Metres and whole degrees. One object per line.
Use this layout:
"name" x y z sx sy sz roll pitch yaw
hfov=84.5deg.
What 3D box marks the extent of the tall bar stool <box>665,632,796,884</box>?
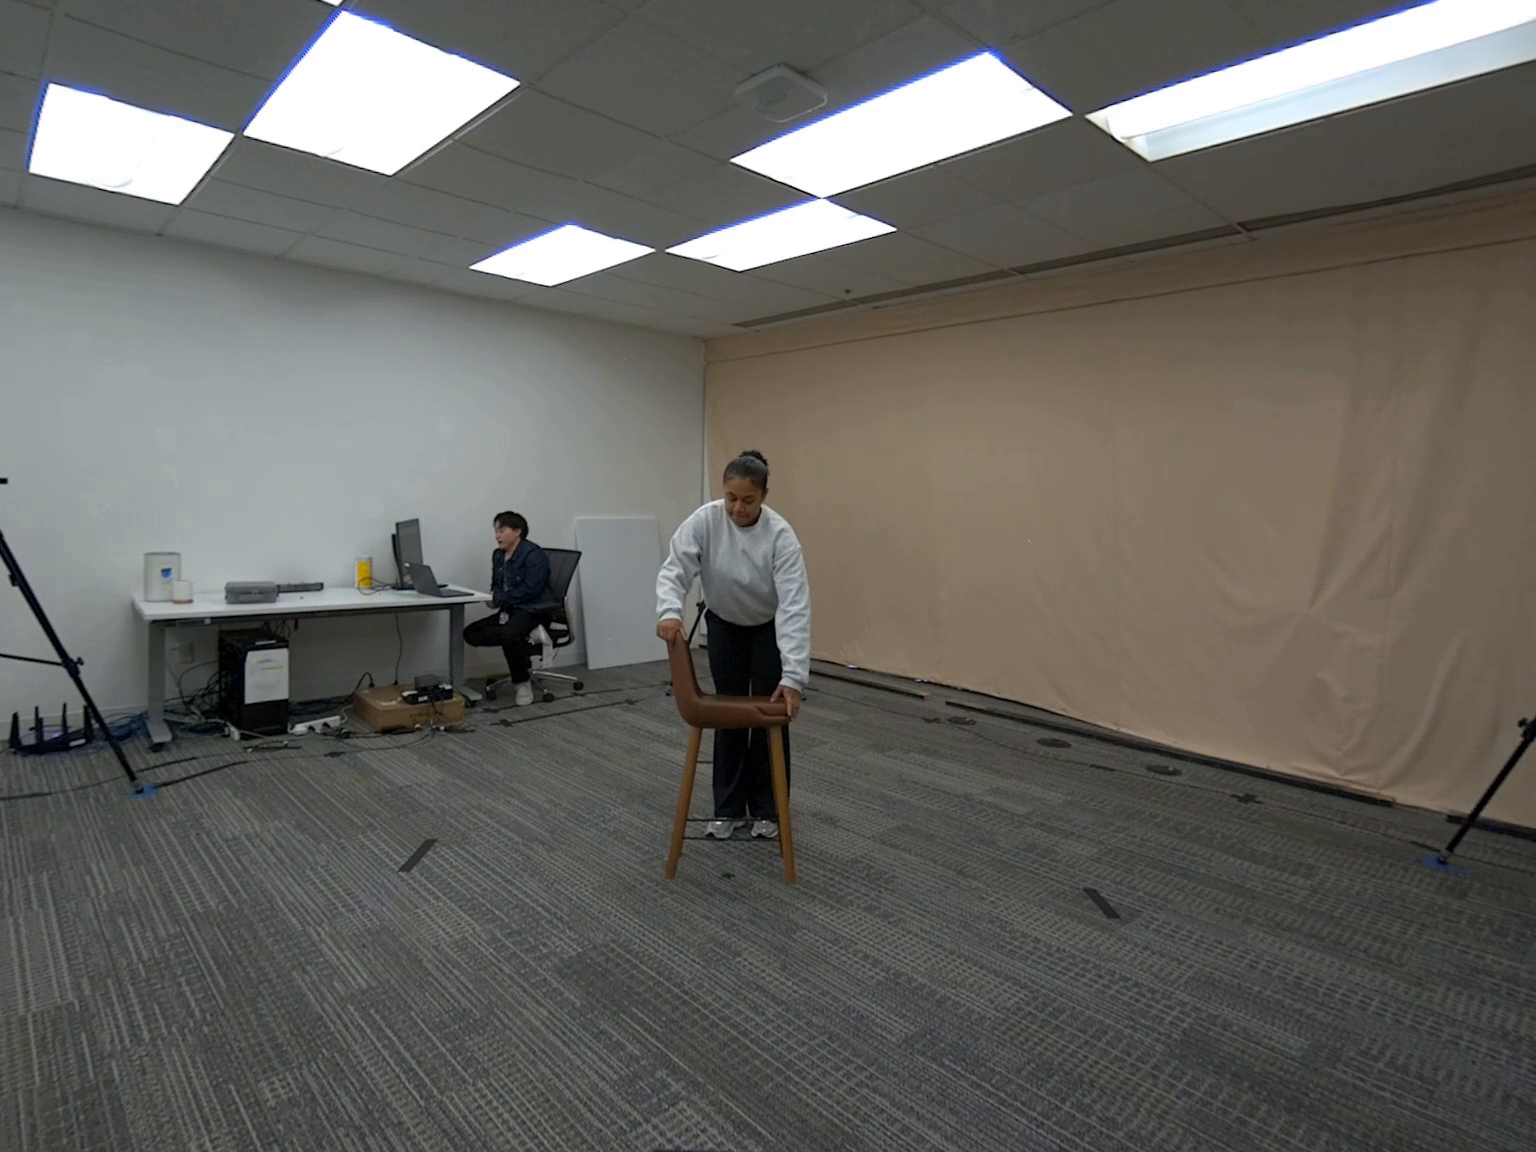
"tall bar stool" -0.145 0.647 3.147 0.468 0.895 0.453 -2 -8 1
